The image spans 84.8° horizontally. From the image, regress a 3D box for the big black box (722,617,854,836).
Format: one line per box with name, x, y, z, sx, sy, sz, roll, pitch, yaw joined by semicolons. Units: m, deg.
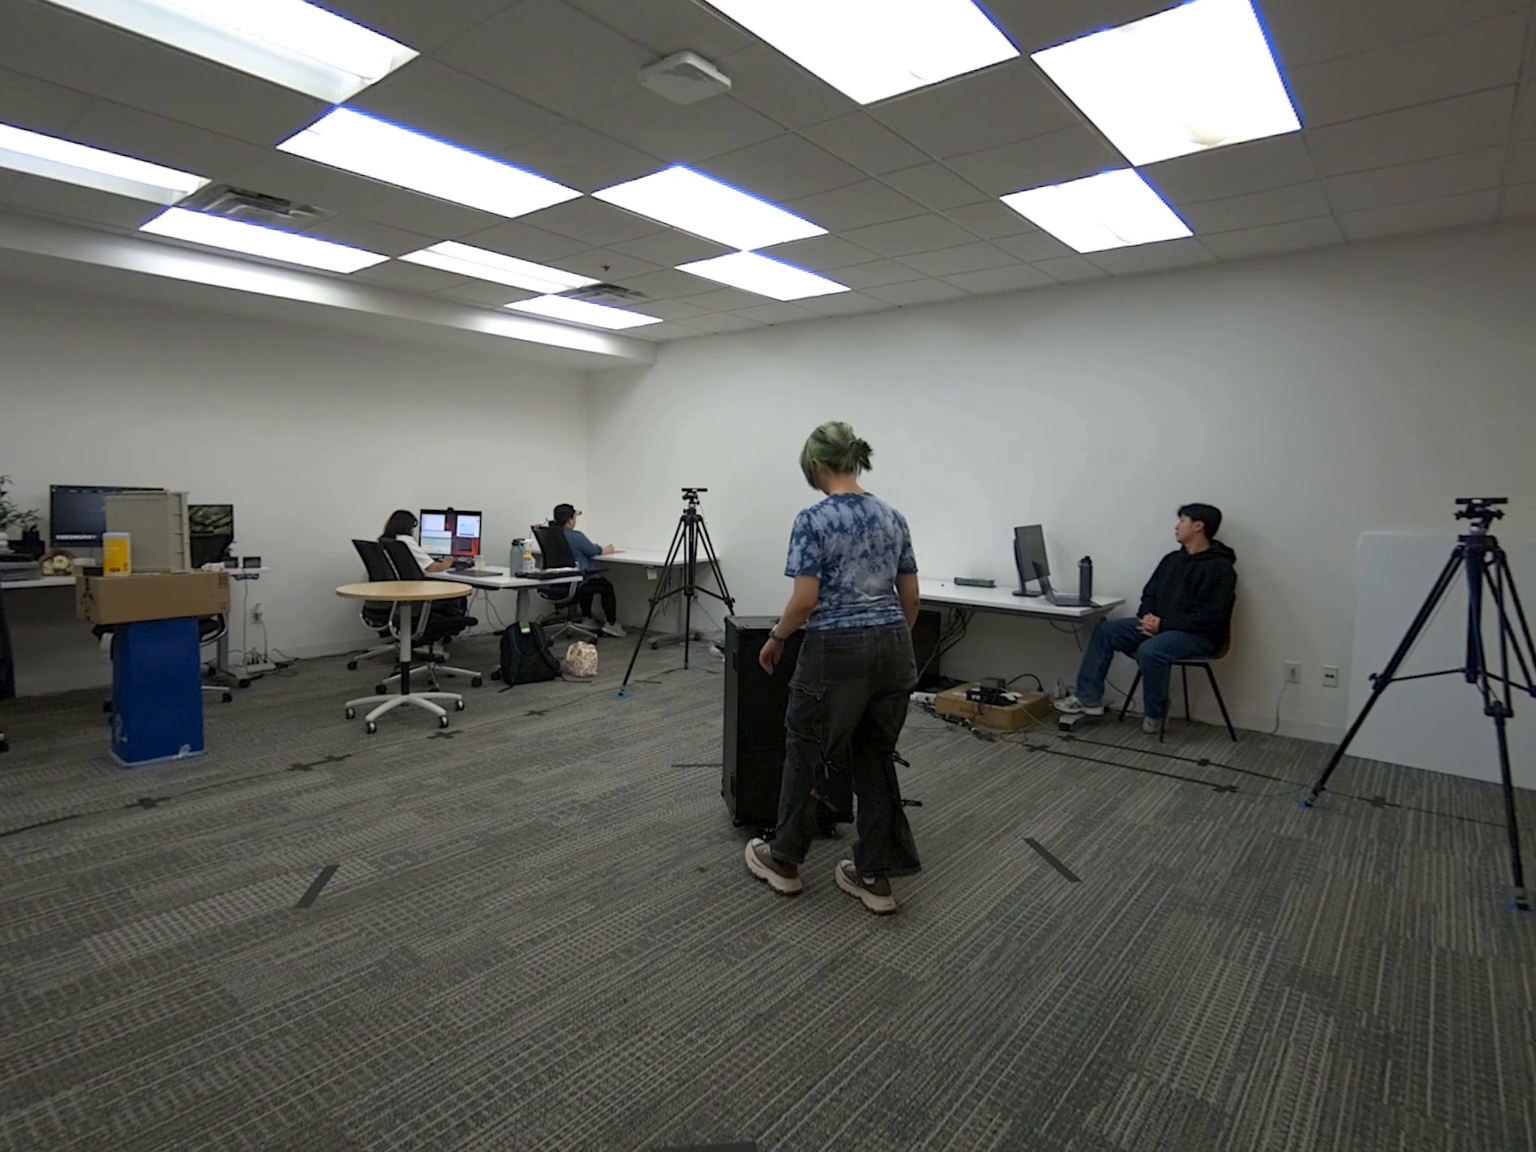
big black box;0.058;0.606;3.529;0.516;0.860;0.401;0;2;-9
